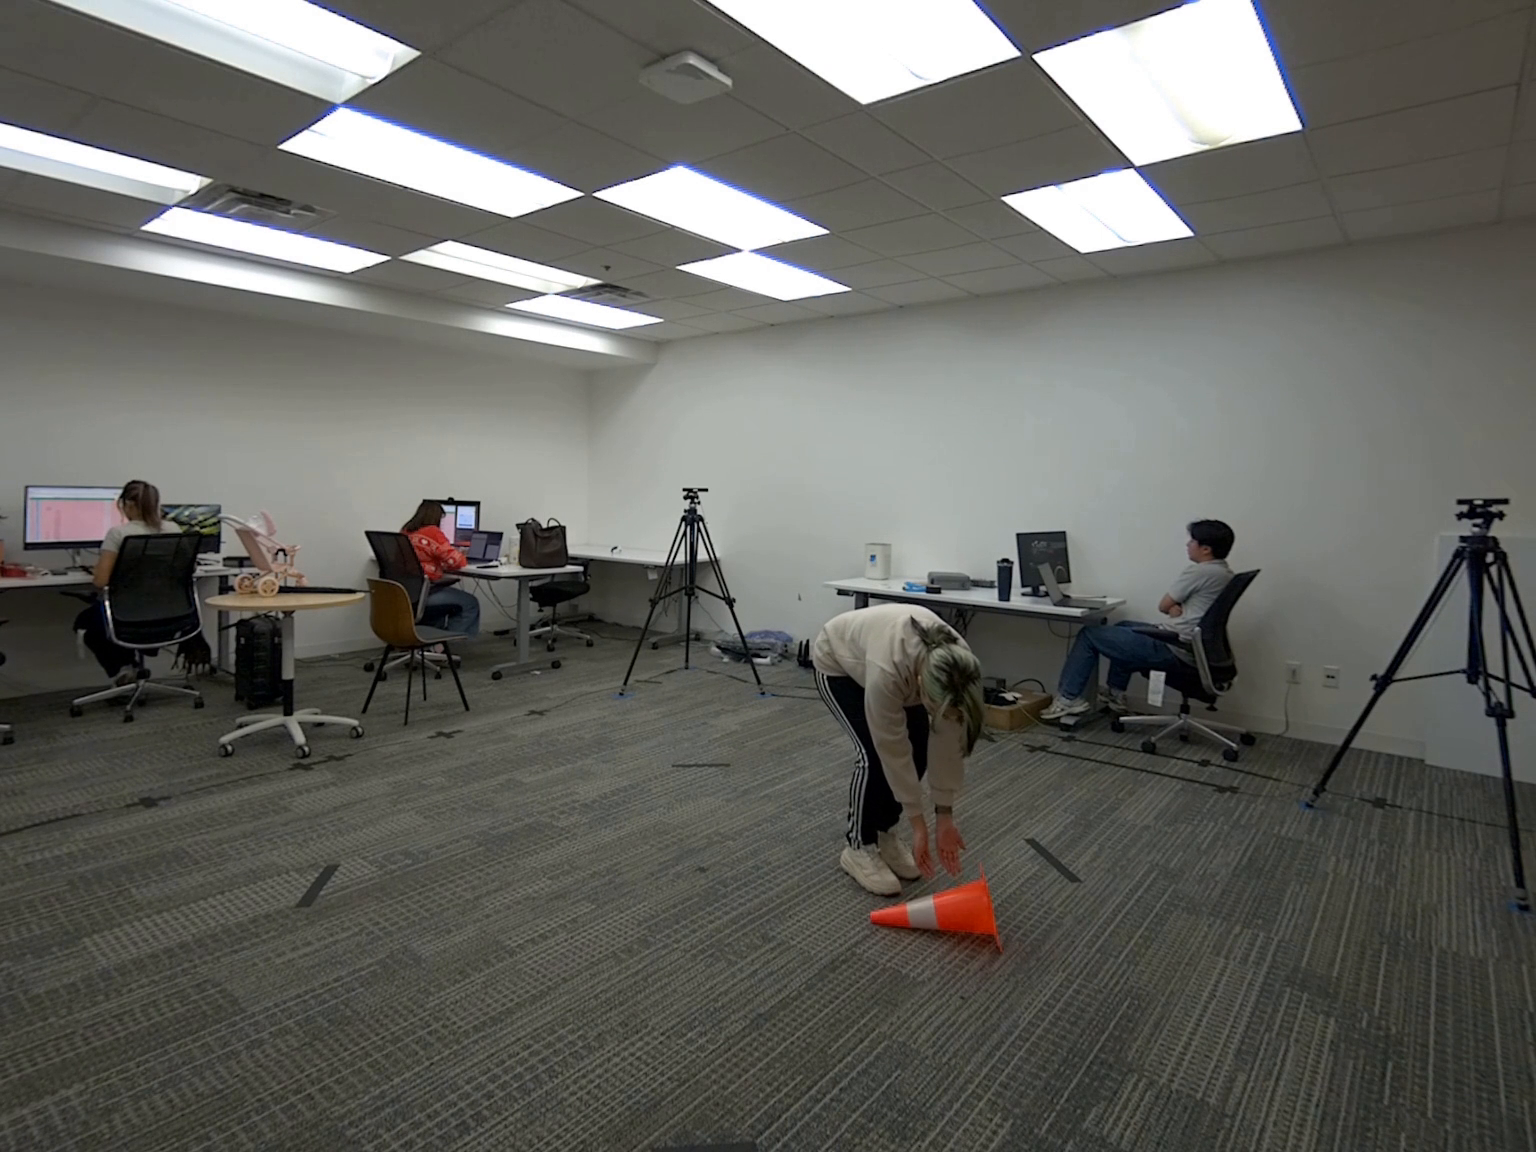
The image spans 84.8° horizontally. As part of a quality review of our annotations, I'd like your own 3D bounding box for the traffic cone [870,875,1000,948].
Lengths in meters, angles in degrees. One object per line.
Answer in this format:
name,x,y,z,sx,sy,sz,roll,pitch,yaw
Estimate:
traffic cone,0.511,1.071,2.718,0.387,0.203,0.203,-13,9,12
